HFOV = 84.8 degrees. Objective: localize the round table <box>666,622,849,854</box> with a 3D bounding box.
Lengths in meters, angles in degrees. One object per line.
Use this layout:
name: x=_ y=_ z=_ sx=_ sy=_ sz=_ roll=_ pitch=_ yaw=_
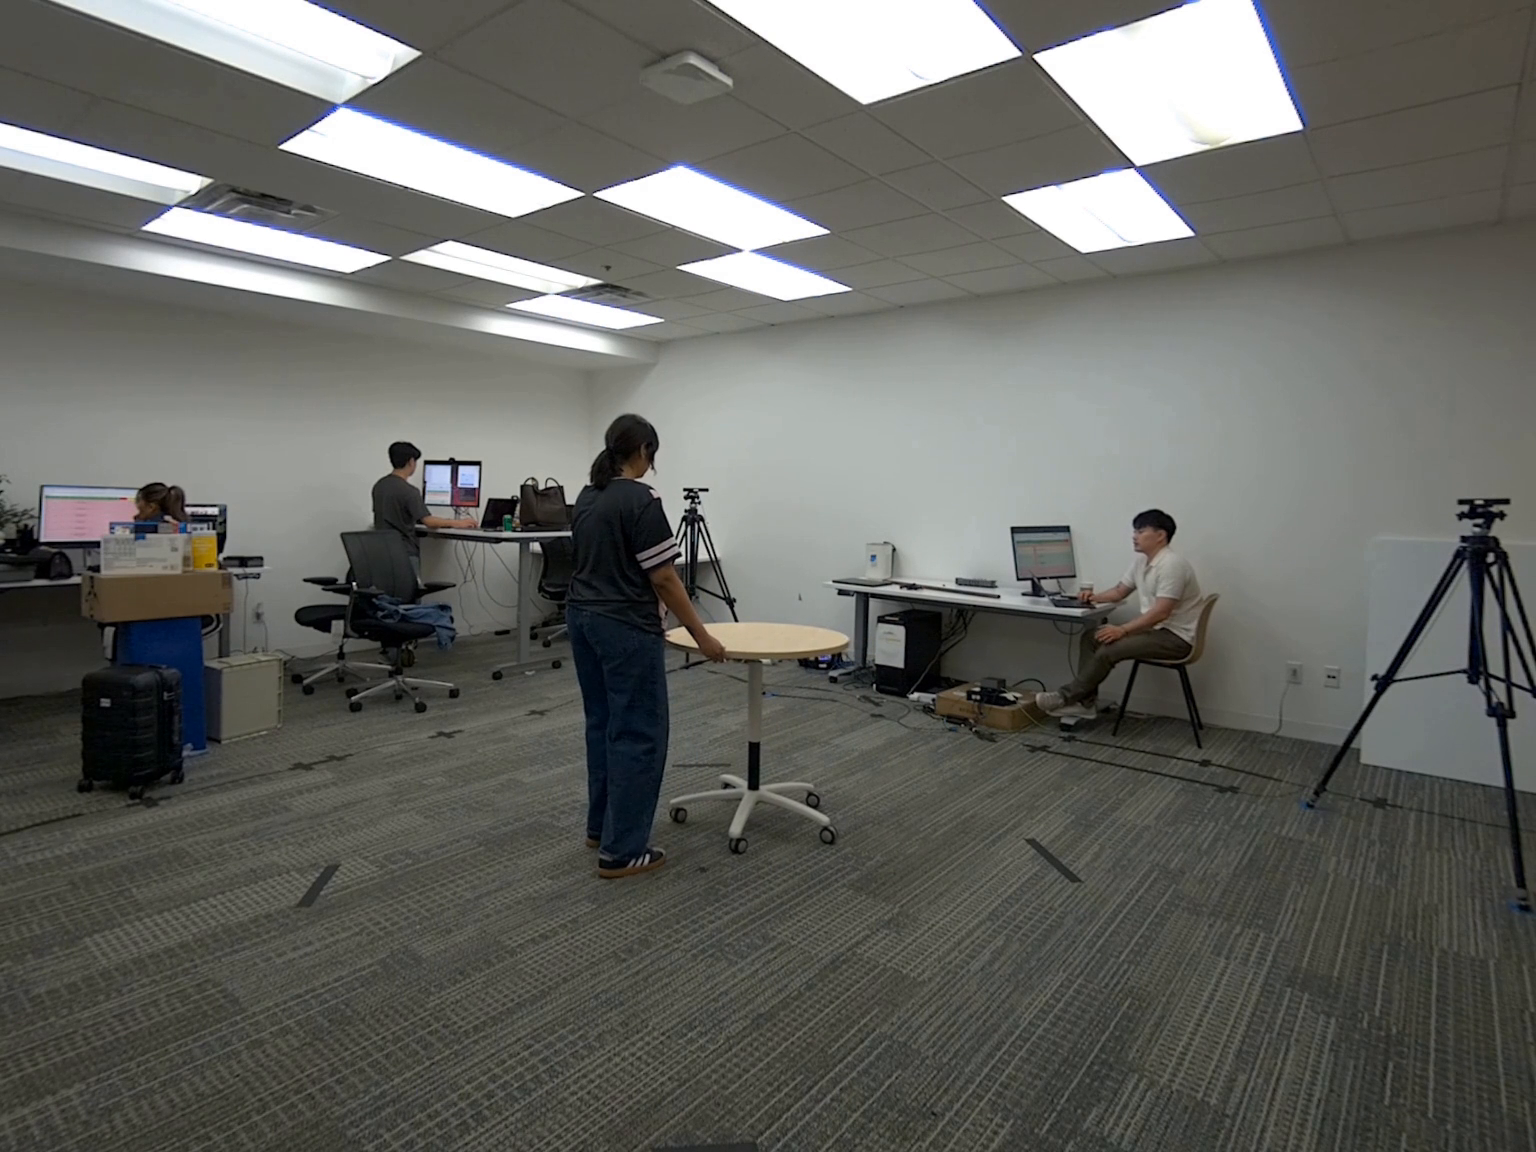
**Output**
round table: x=-0.061 y=0.642 z=3.547 sx=0.763 sy=0.792 sz=0.767 roll=1 pitch=4 yaw=-2
